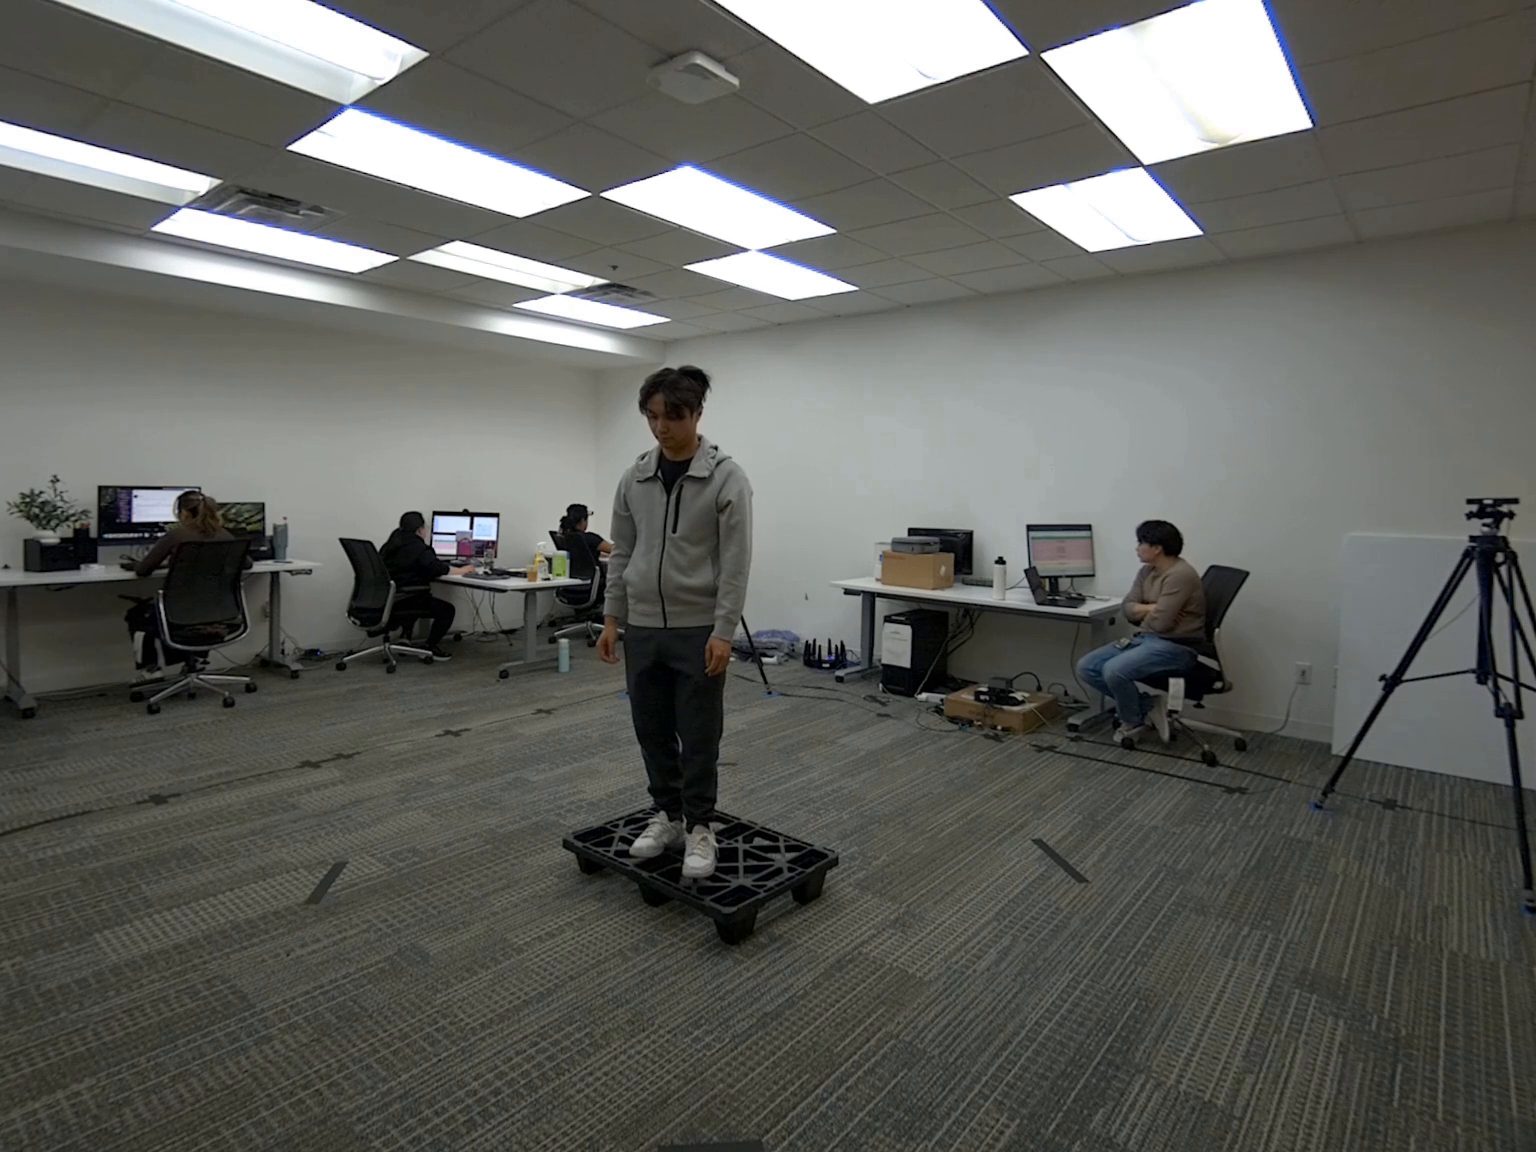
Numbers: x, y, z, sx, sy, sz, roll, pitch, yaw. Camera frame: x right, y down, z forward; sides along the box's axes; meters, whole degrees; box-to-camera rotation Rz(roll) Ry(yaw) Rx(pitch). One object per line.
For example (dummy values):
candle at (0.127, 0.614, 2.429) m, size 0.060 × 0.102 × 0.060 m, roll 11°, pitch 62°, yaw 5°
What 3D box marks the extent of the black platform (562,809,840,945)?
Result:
black platform at (-0.256, 1.010, 2.998) m, size 0.833 × 0.143 × 0.587 m, roll 6°, pitch 7°, yaw 40°
